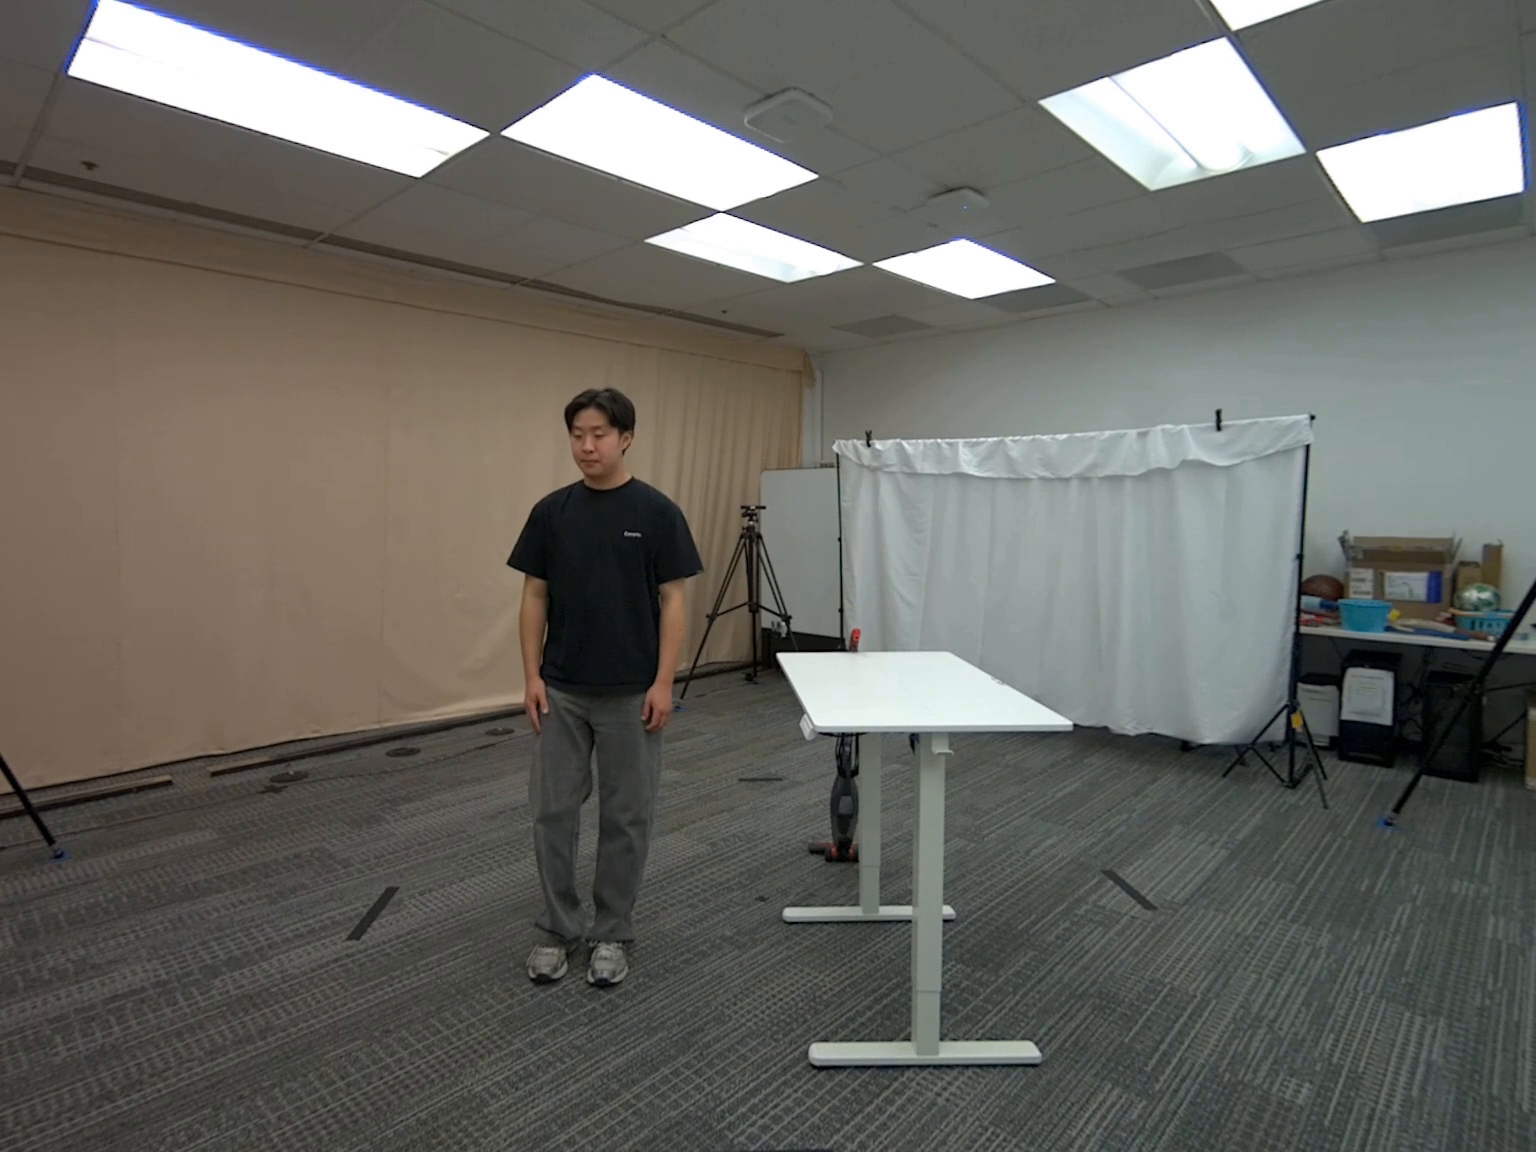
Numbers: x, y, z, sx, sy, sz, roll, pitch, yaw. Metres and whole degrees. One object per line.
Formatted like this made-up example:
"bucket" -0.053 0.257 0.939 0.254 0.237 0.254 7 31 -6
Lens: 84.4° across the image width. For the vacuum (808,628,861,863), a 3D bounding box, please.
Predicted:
"vacuum" 0.296 0.649 3.108 0.252 1.033 0.146 -1 27 -1
